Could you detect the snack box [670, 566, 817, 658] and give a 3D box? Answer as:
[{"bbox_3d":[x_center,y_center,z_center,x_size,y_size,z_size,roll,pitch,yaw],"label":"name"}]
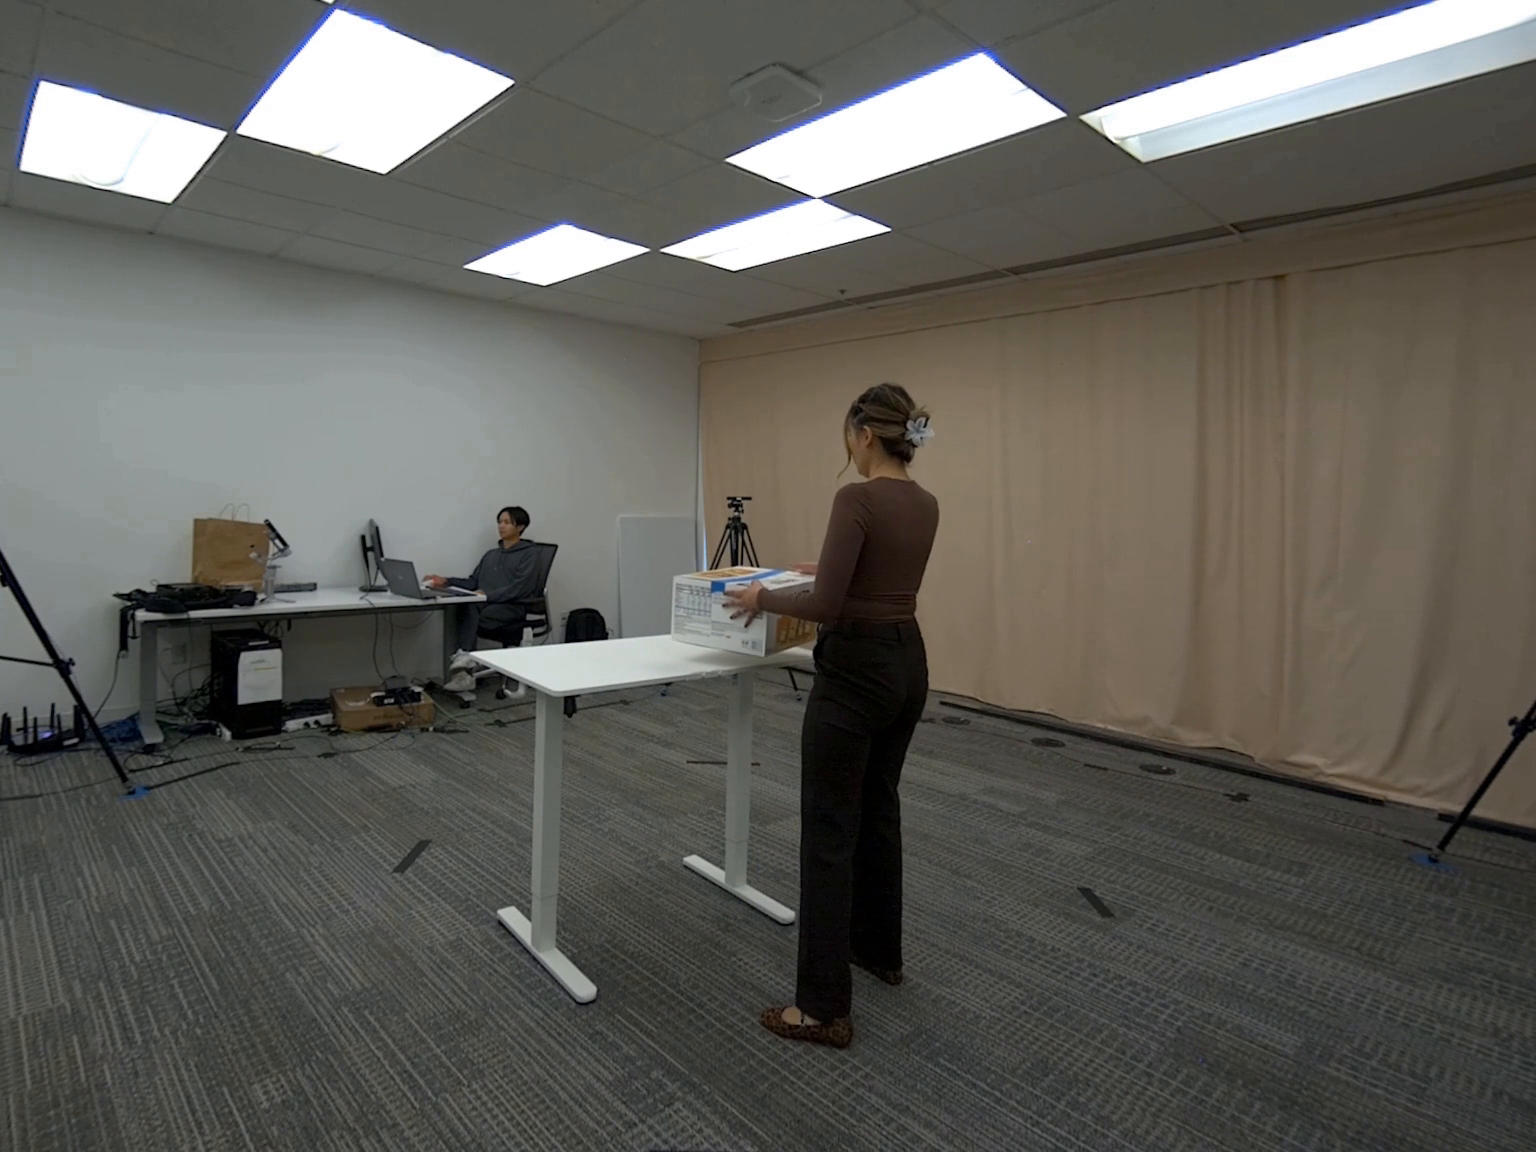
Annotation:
[{"bbox_3d":[-0.059,0.105,2.679,0.348,0.205,0.398,7,8,29],"label":"snack box"}]
